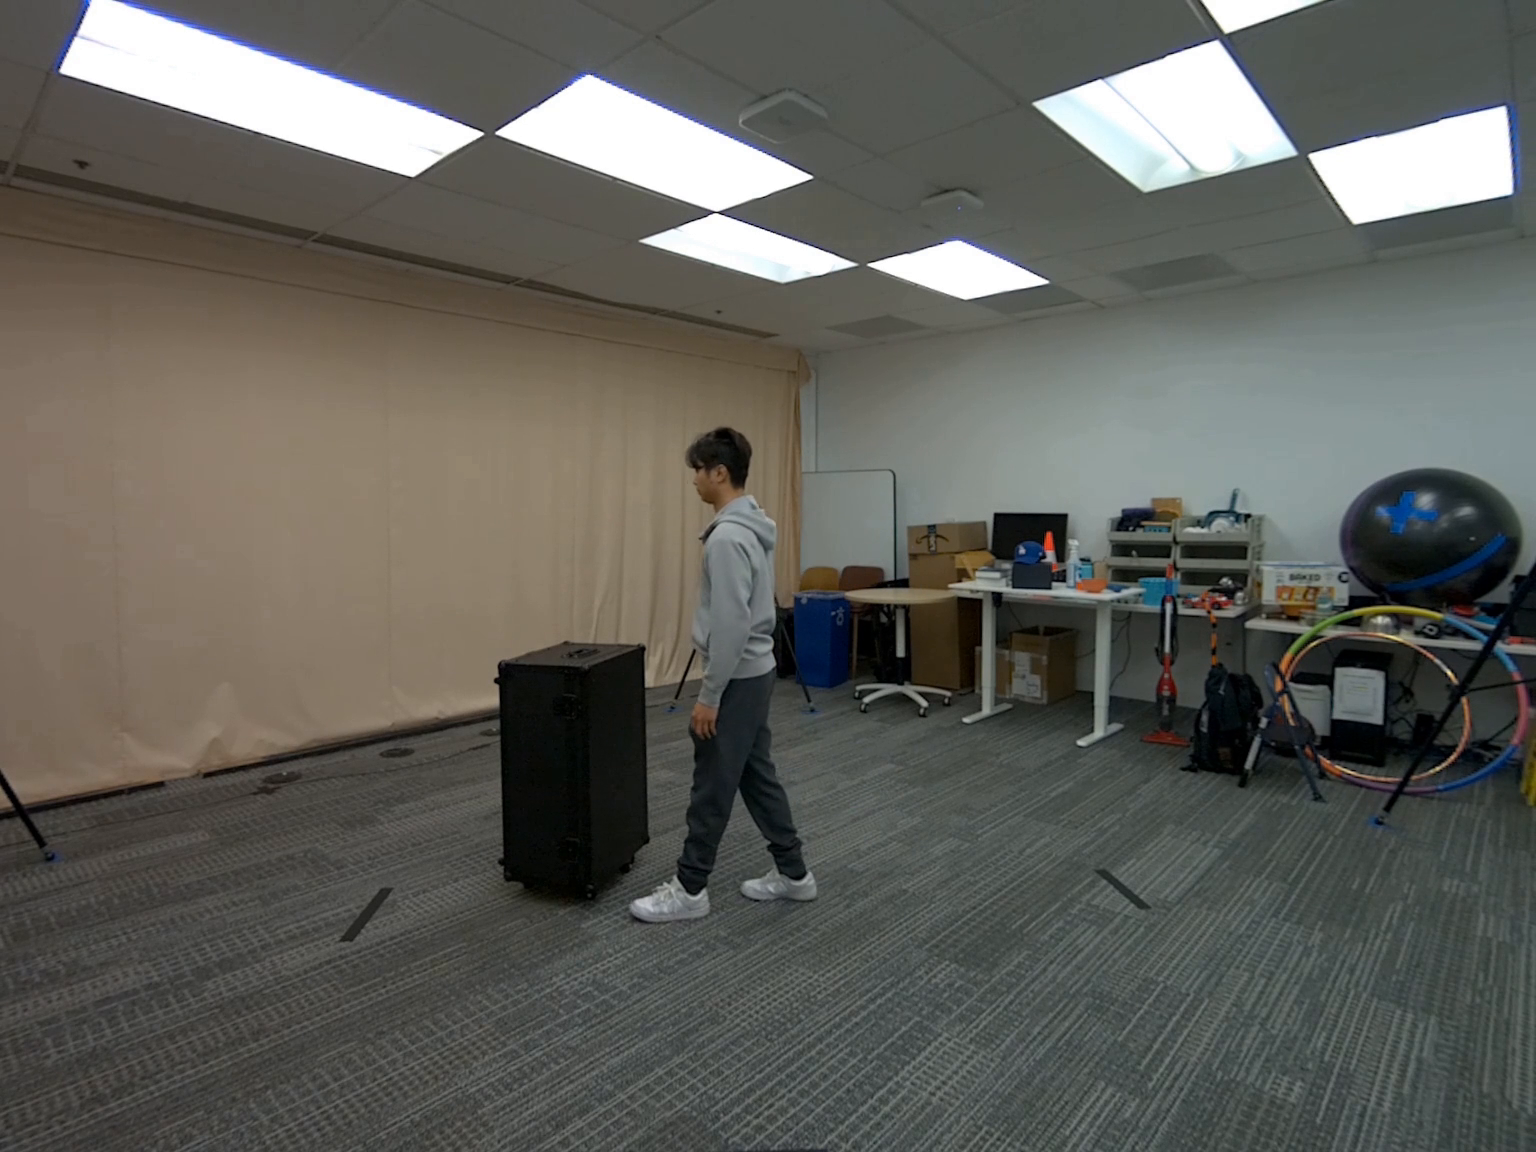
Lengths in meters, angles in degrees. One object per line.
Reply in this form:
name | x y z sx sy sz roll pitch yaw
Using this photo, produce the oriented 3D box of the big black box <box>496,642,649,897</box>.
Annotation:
big black box | -0.718 0.708 3.146 0.404 0.860 0.512 1 3 17
